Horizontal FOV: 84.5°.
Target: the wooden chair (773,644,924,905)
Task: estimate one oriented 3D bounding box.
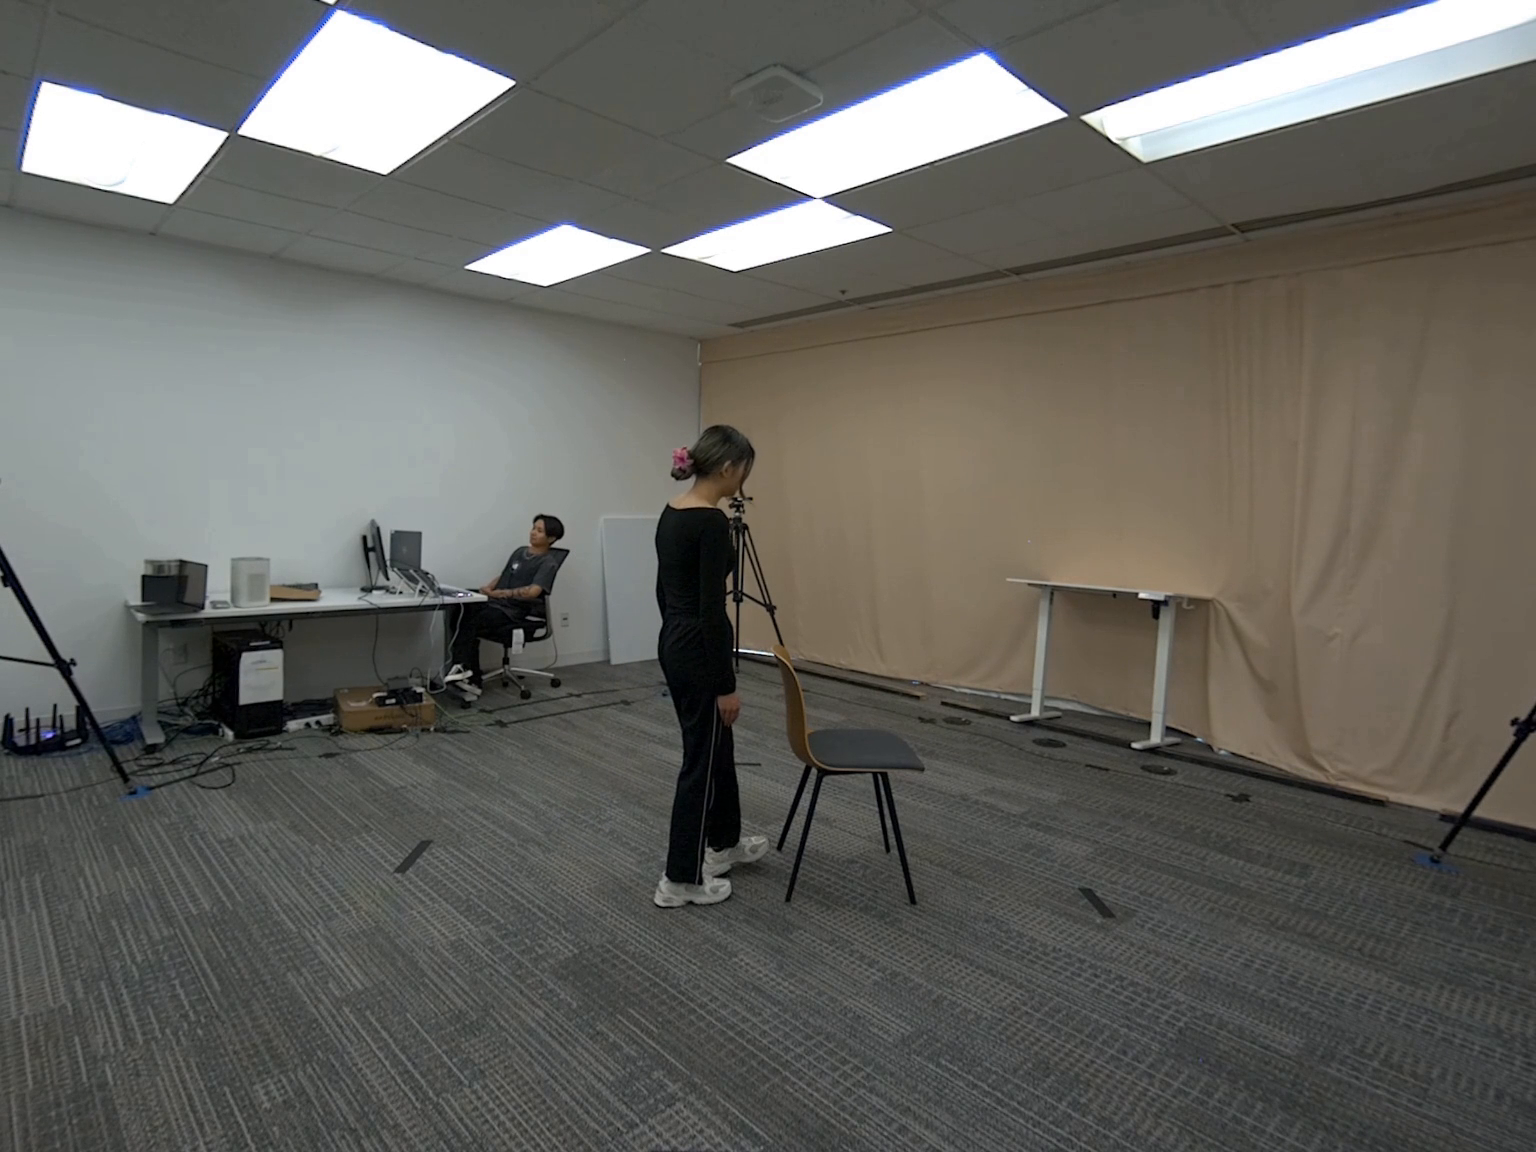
[{"bbox_3d":[0.288,0.690,3.110,0.522,0.876,0.479,-3,2,-2],"label":"wooden chair"}]
